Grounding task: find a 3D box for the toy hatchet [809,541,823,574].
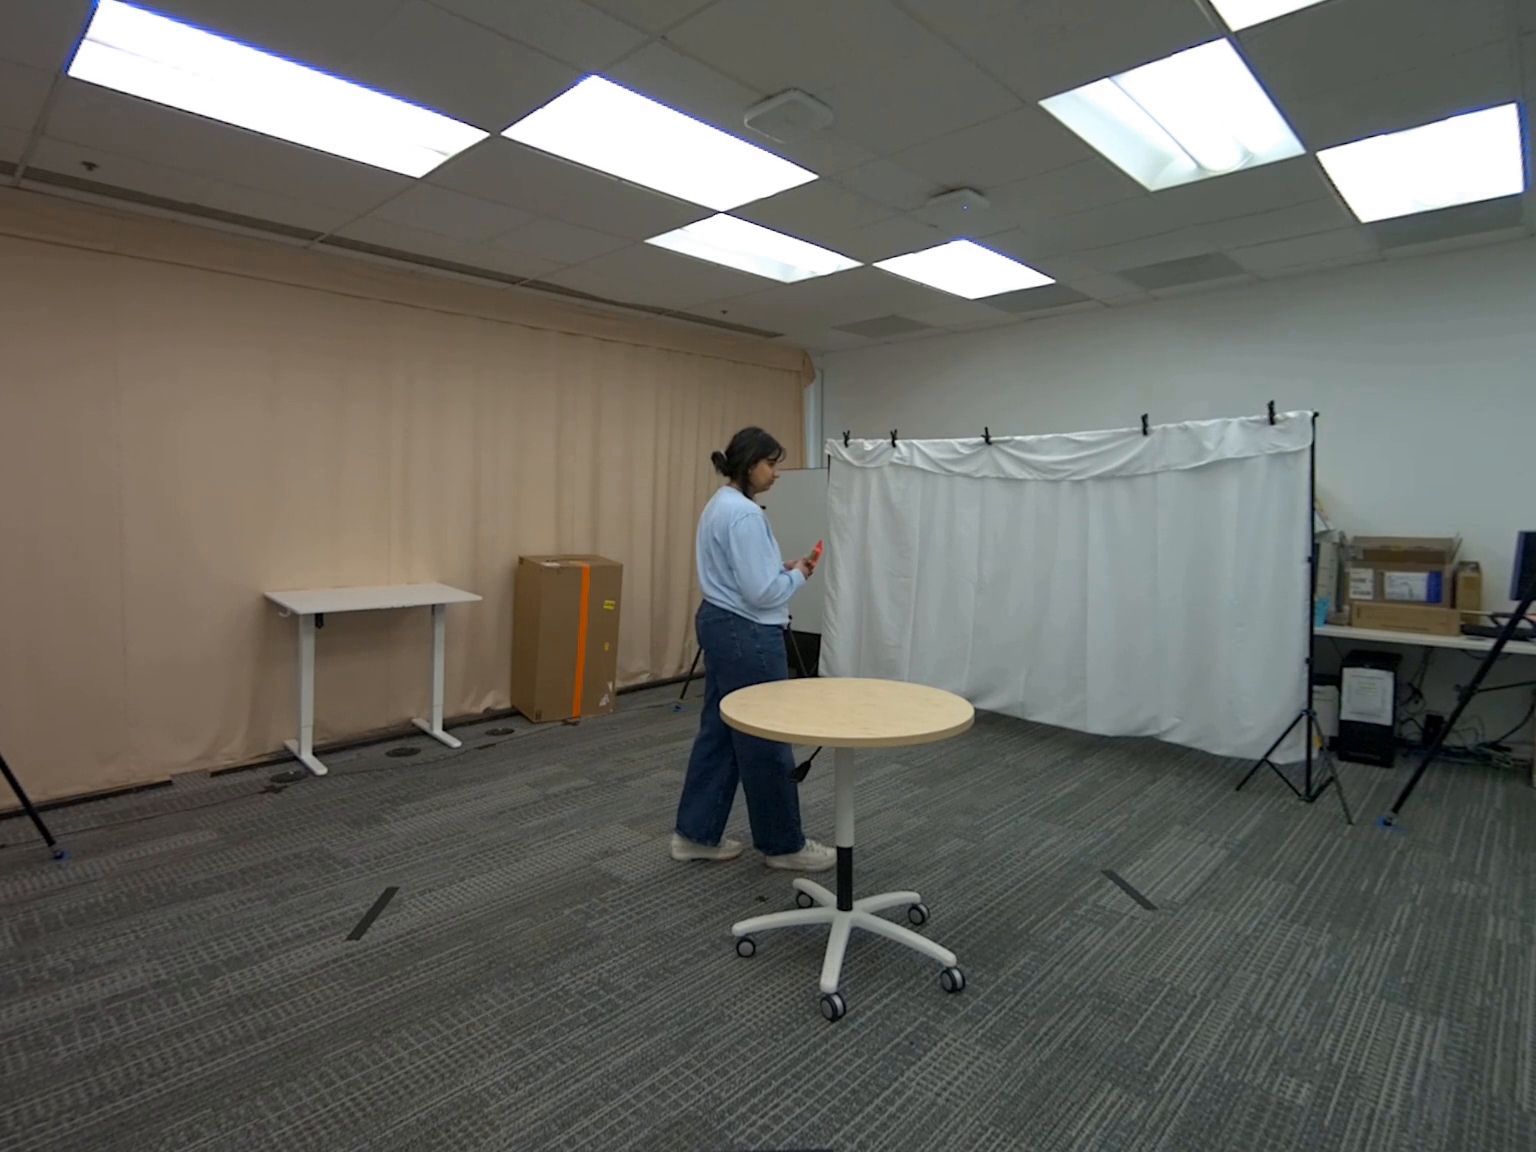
[{"bbox_3d":[0.156,-0.037,3.367,0.030,0.129,0.267,26,48,24],"label":"toy hatchet"}]
